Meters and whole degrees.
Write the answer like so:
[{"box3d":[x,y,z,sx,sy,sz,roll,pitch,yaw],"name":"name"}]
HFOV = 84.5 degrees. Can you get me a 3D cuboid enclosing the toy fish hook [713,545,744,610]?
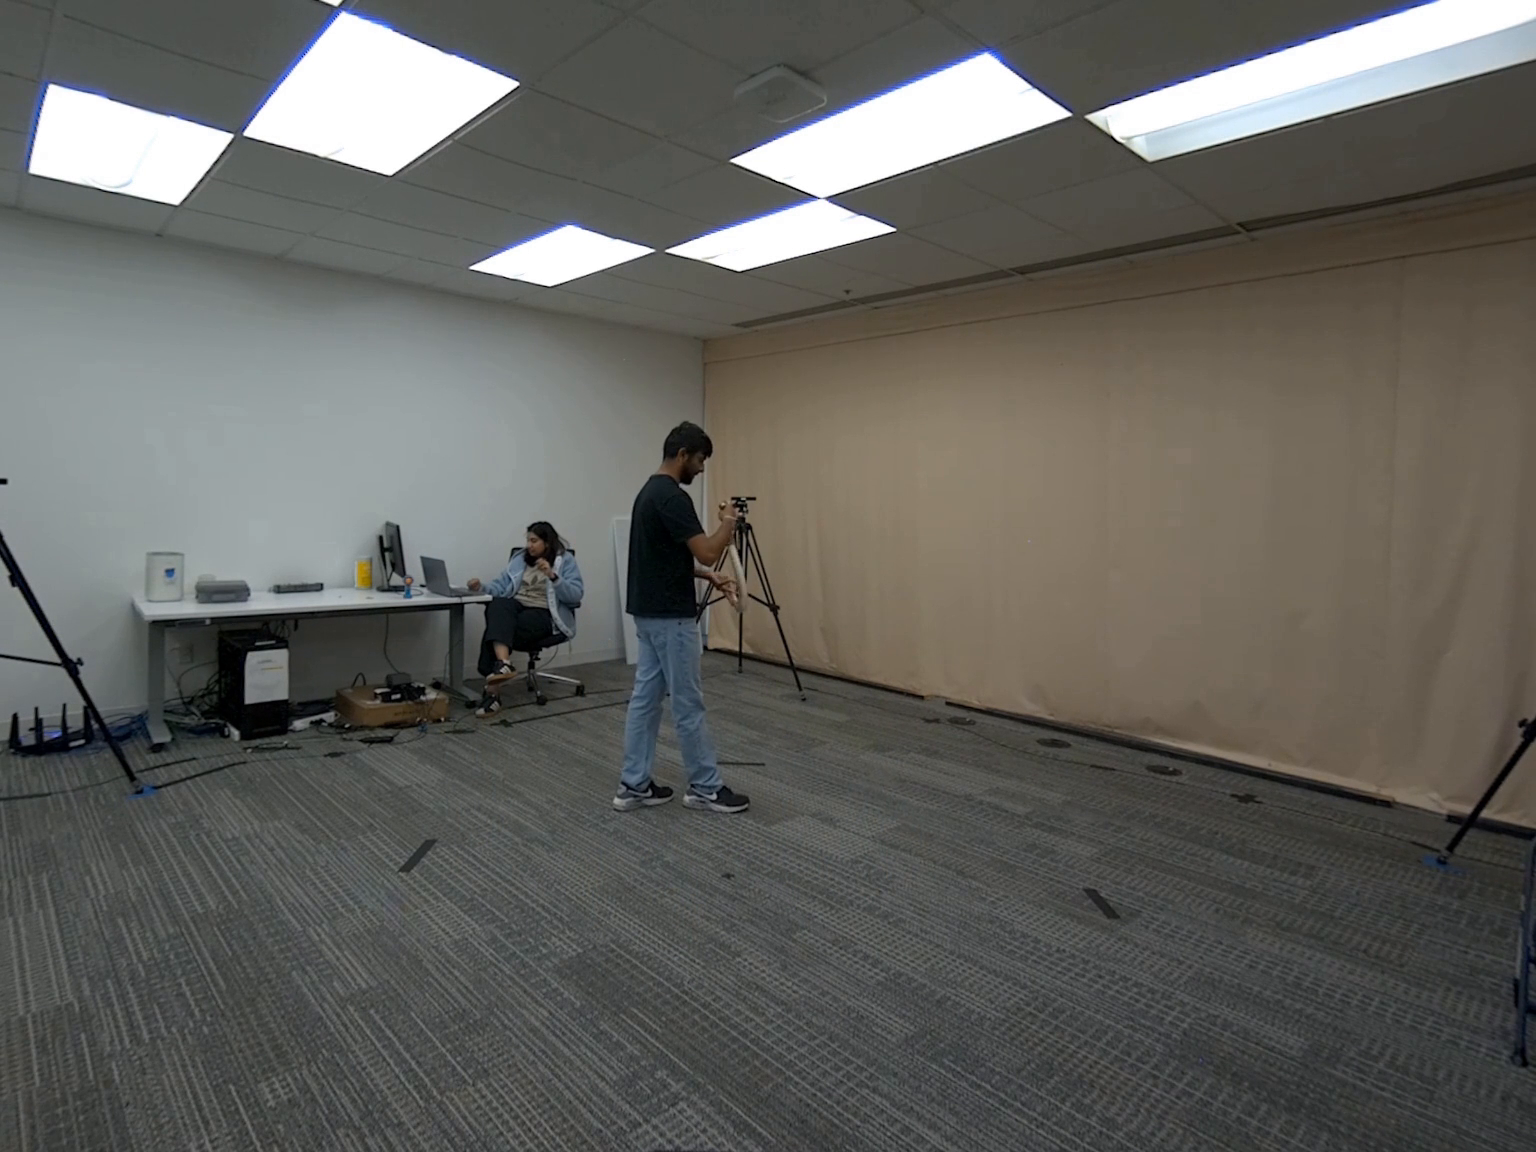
[{"box3d":[-0.184,-0.080,3.857,0.047,0.511,0.226,-9,-11,-24],"name":"toy fish hook"}]
